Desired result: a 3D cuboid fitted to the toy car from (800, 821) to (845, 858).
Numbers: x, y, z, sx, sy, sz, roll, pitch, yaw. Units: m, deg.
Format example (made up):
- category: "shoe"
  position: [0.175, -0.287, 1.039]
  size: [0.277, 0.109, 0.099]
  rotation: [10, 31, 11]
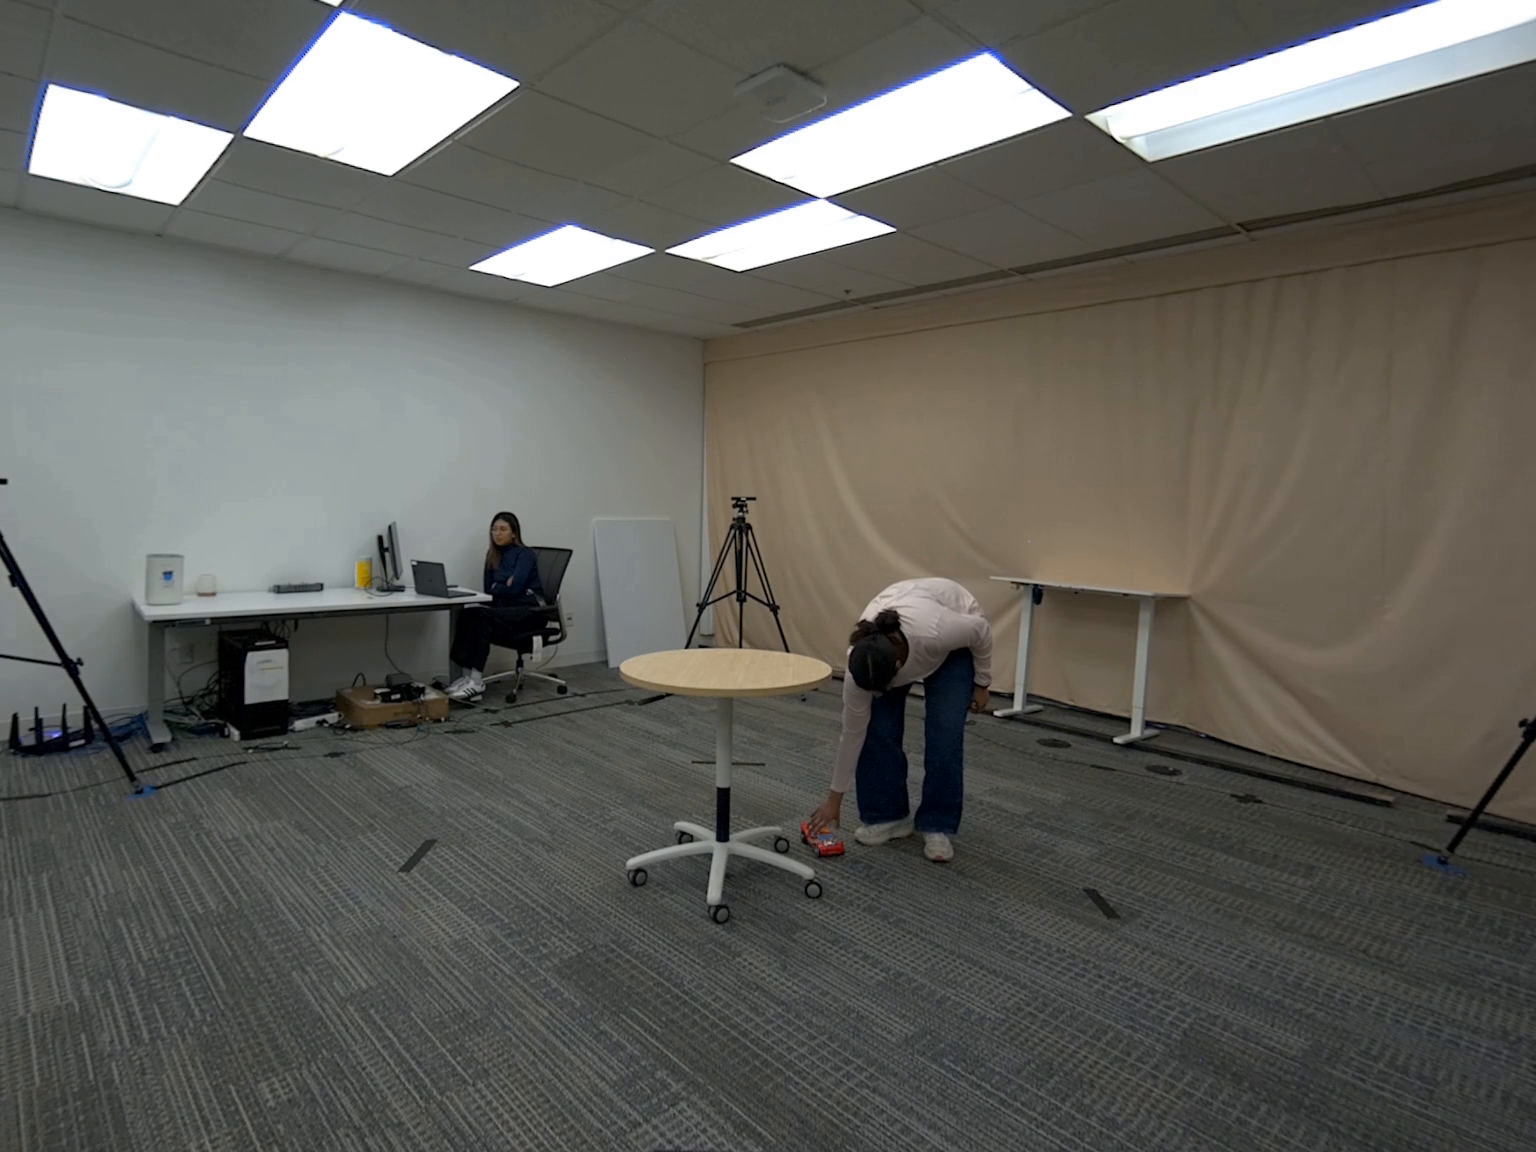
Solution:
- category: "toy car"
  position: [0.202, 1.059, 3.388]
  size: [0.128, 0.082, 0.260]
  rotation: [0, 14, -19]
